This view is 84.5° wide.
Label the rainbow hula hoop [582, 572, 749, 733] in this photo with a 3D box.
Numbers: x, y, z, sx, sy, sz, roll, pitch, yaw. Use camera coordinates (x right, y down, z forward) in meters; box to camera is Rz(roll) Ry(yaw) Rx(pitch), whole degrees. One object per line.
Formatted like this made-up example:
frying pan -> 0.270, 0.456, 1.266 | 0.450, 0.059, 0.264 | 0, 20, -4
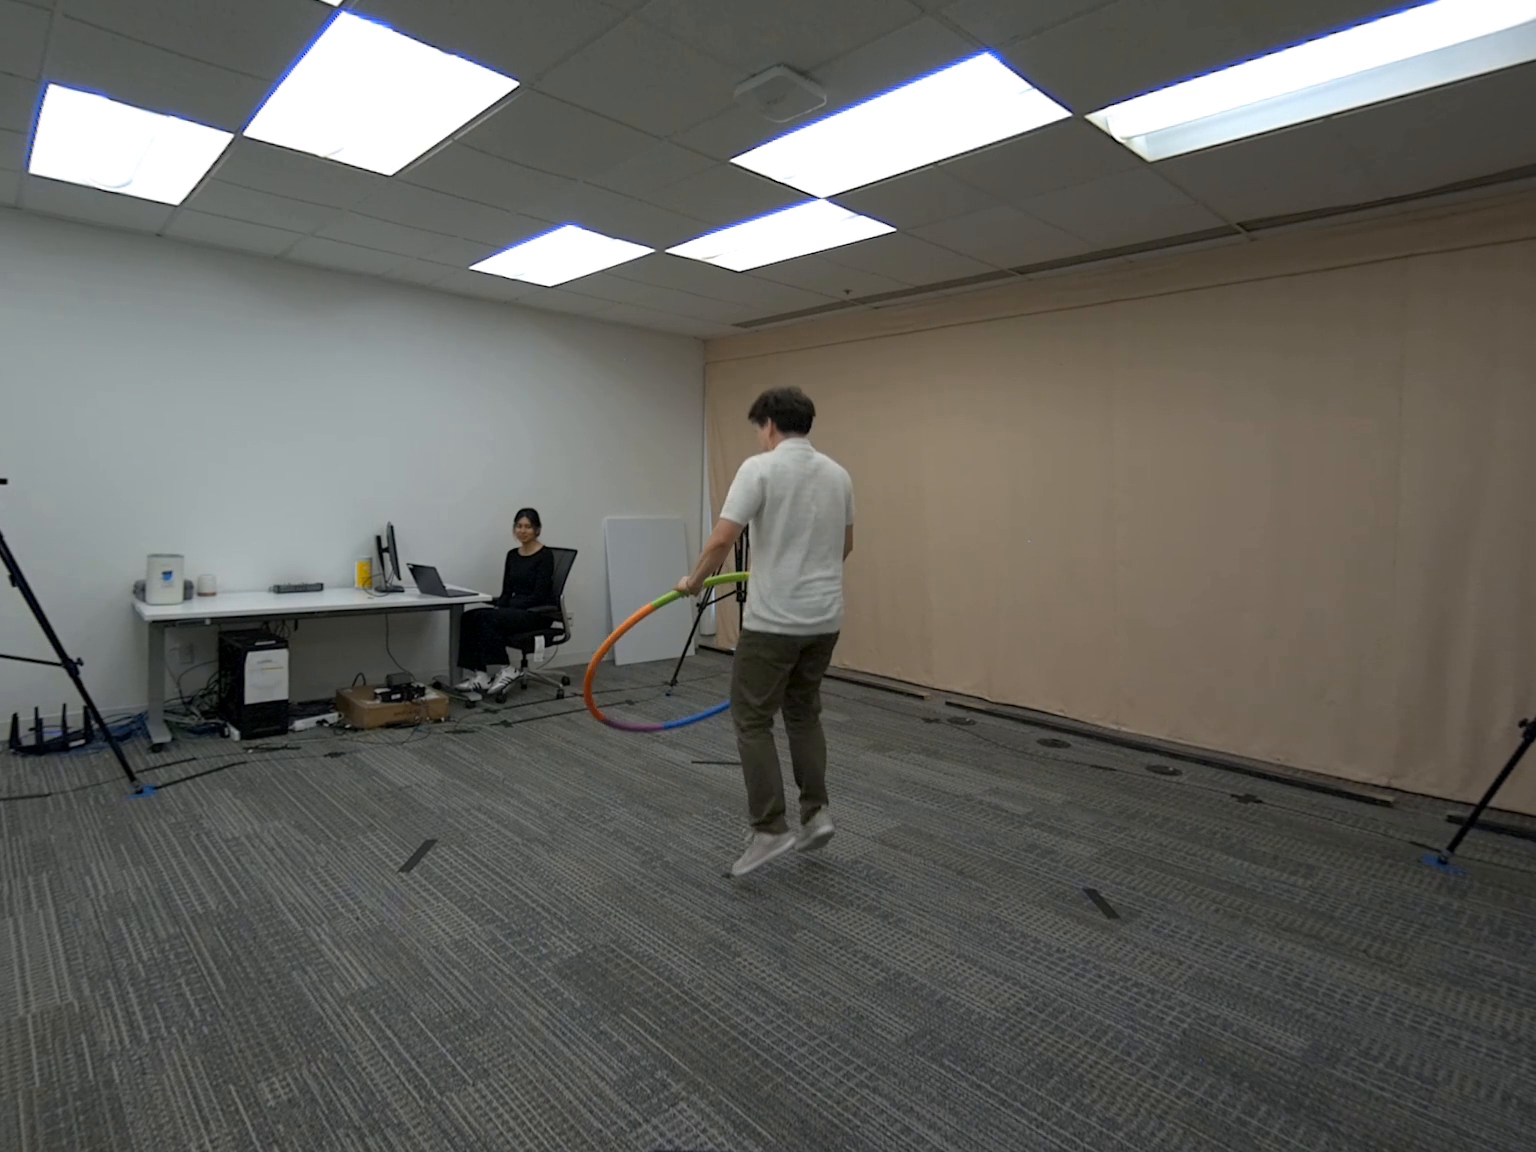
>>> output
rainbow hula hoop -> -0.263, 0.344, 3.428 | 0.958, 0.971, 0.036 | -2, 47, -34
